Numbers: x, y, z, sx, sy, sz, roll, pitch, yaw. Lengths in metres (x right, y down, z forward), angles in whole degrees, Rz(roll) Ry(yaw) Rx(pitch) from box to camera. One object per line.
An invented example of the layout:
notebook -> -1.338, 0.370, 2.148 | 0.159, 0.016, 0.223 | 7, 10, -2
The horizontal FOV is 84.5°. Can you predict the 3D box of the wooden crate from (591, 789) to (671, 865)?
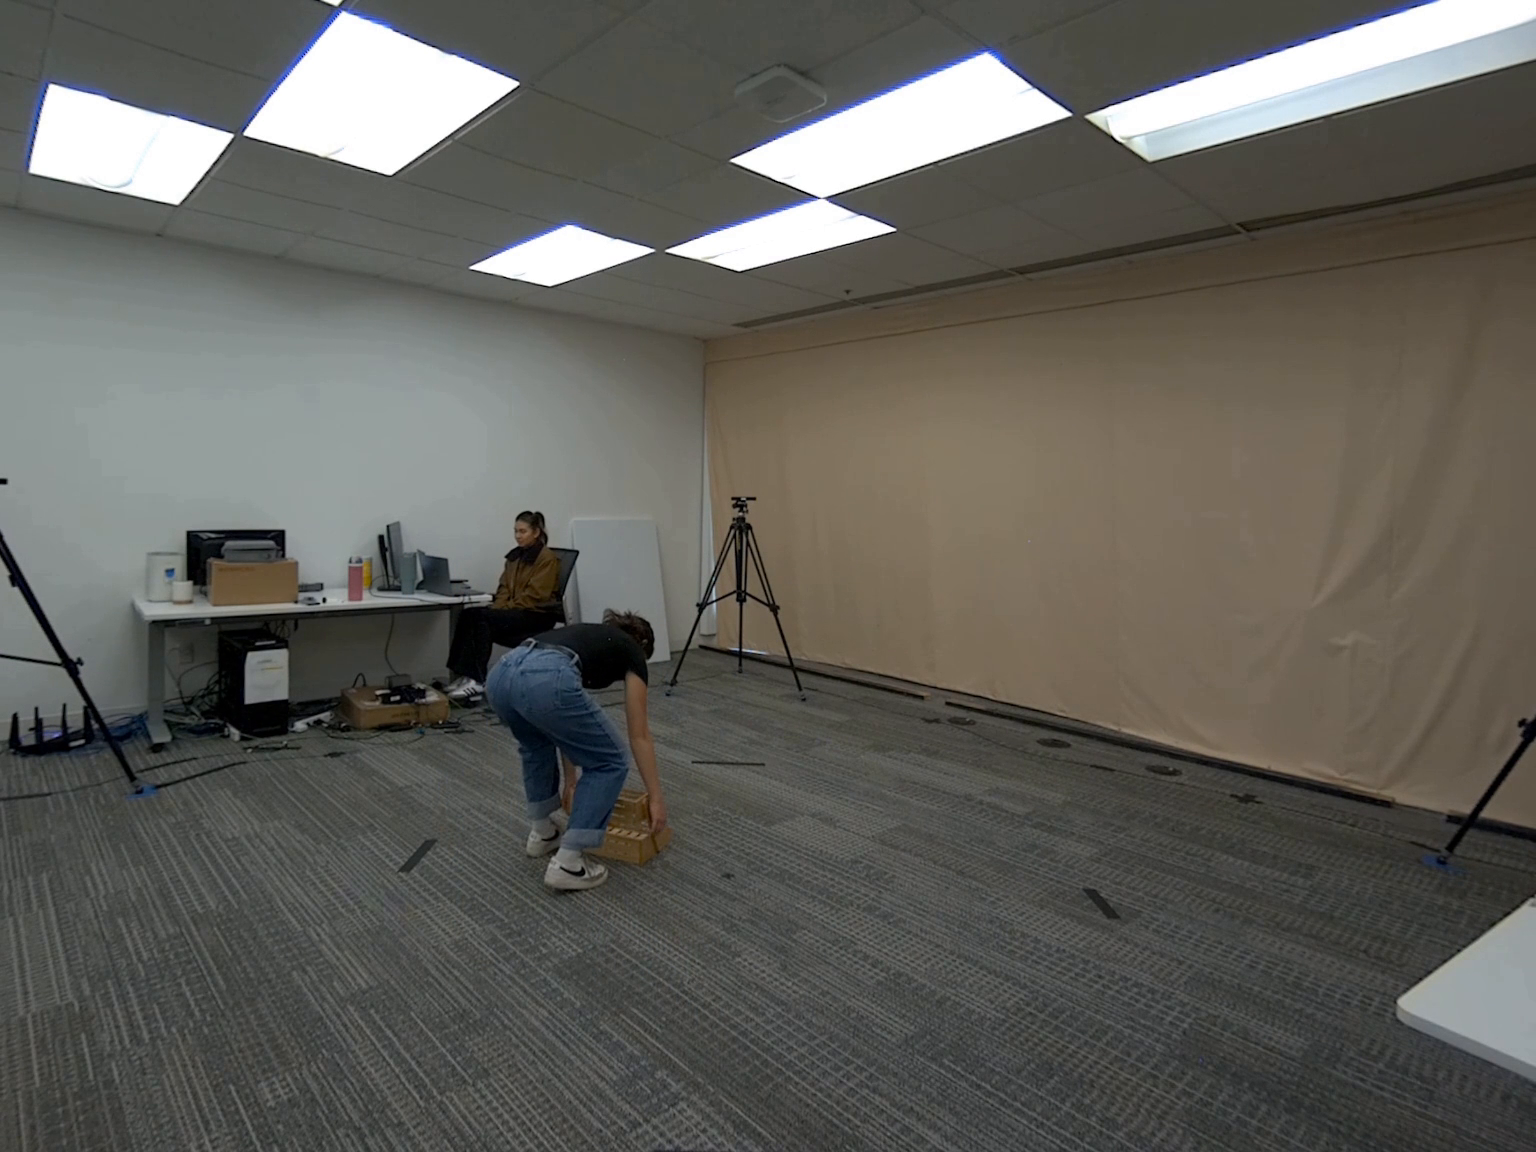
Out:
wooden crate -> -0.588, 0.944, 3.320 | 0.330, 0.272, 0.298 | 3, 6, 21
